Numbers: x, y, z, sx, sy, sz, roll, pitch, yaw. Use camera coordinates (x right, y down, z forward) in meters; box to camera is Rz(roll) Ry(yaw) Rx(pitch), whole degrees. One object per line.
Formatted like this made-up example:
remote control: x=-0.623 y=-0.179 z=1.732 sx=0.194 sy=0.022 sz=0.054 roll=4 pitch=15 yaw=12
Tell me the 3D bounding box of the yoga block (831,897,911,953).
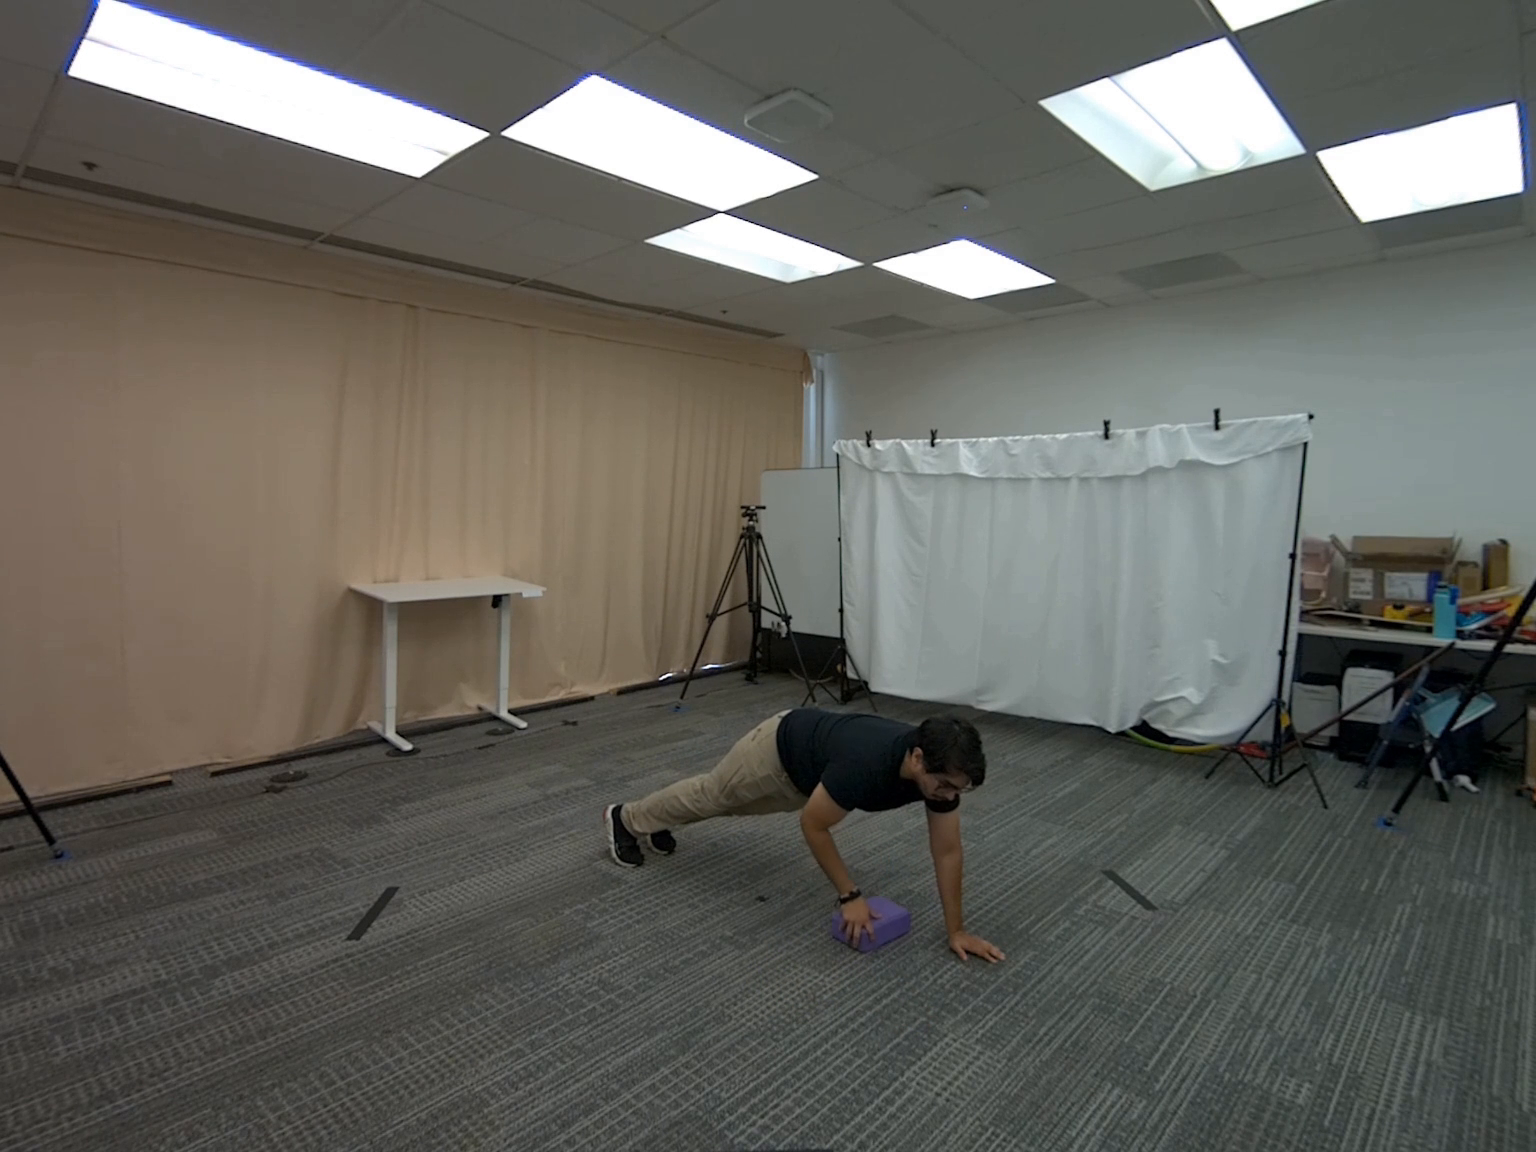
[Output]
yoga block: x=0.340 y=1.125 z=2.726 sx=0.223 sy=0.076 sz=0.154 roll=-5 pitch=8 yaw=-38
